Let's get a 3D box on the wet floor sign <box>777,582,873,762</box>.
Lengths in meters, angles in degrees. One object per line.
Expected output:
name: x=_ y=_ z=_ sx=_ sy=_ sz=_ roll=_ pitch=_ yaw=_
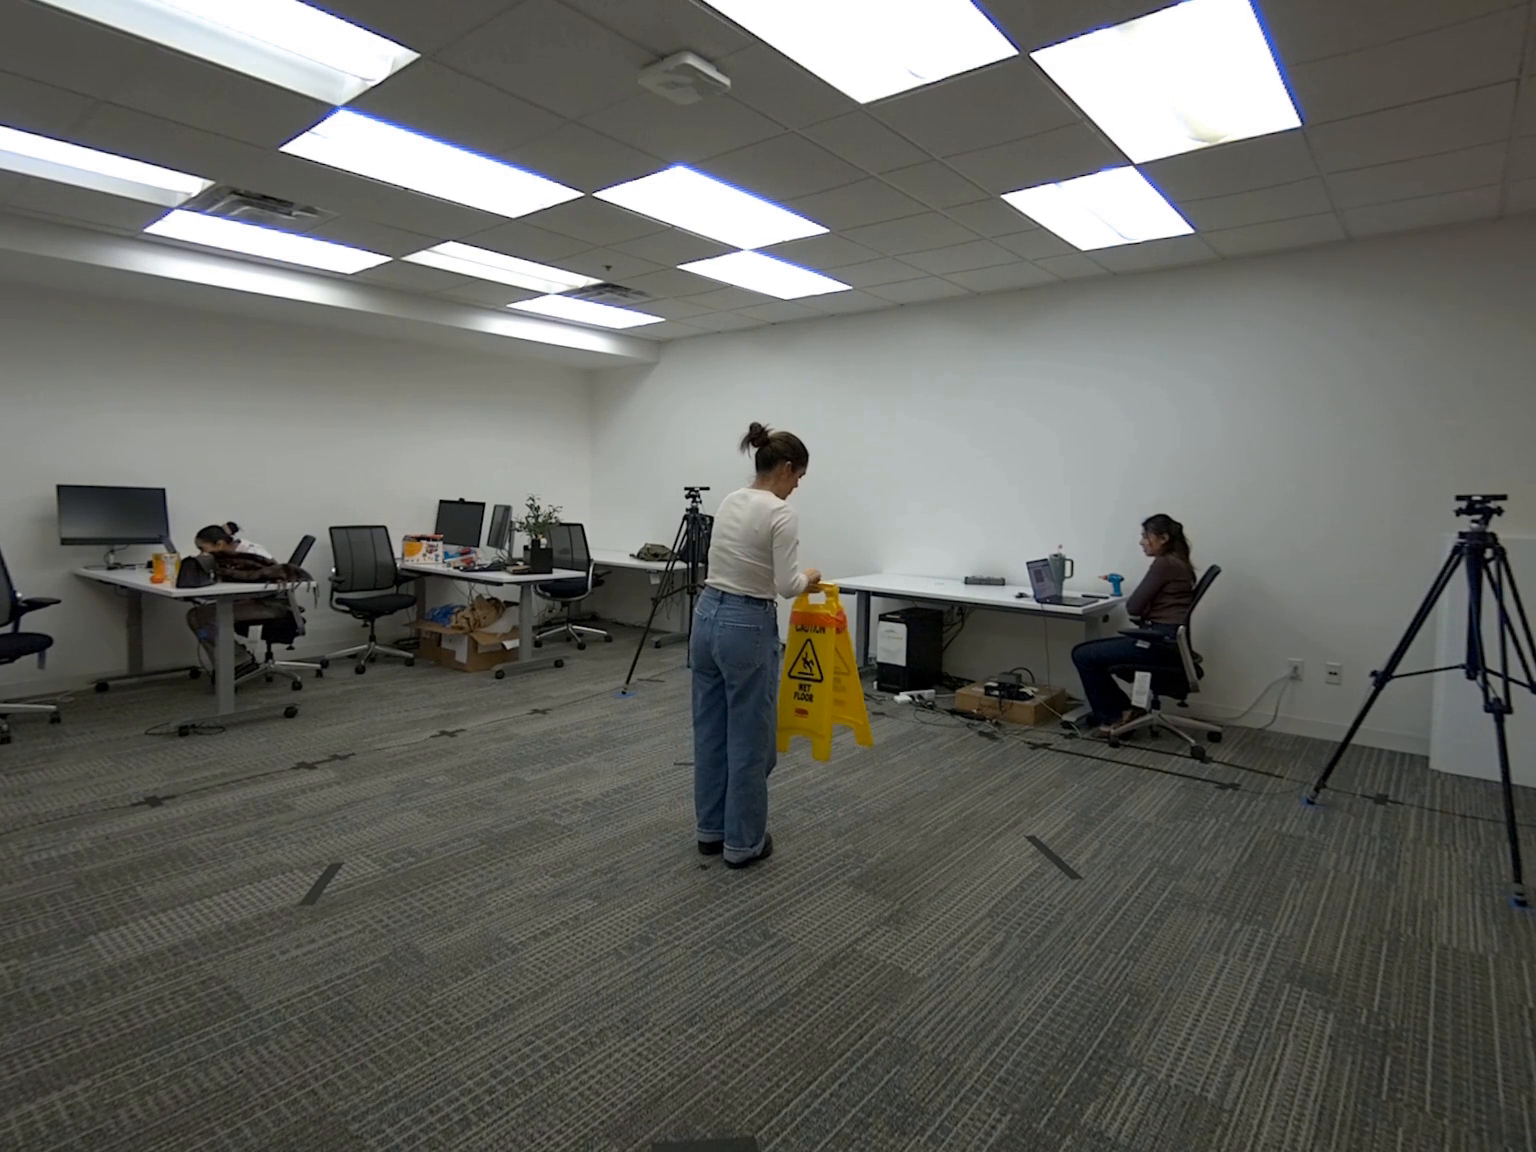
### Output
wet floor sign: x=0.189 y=0.355 z=3.312 sx=0.281 sy=0.646 sz=0.291 roll=-2 pitch=1 yaw=-44
